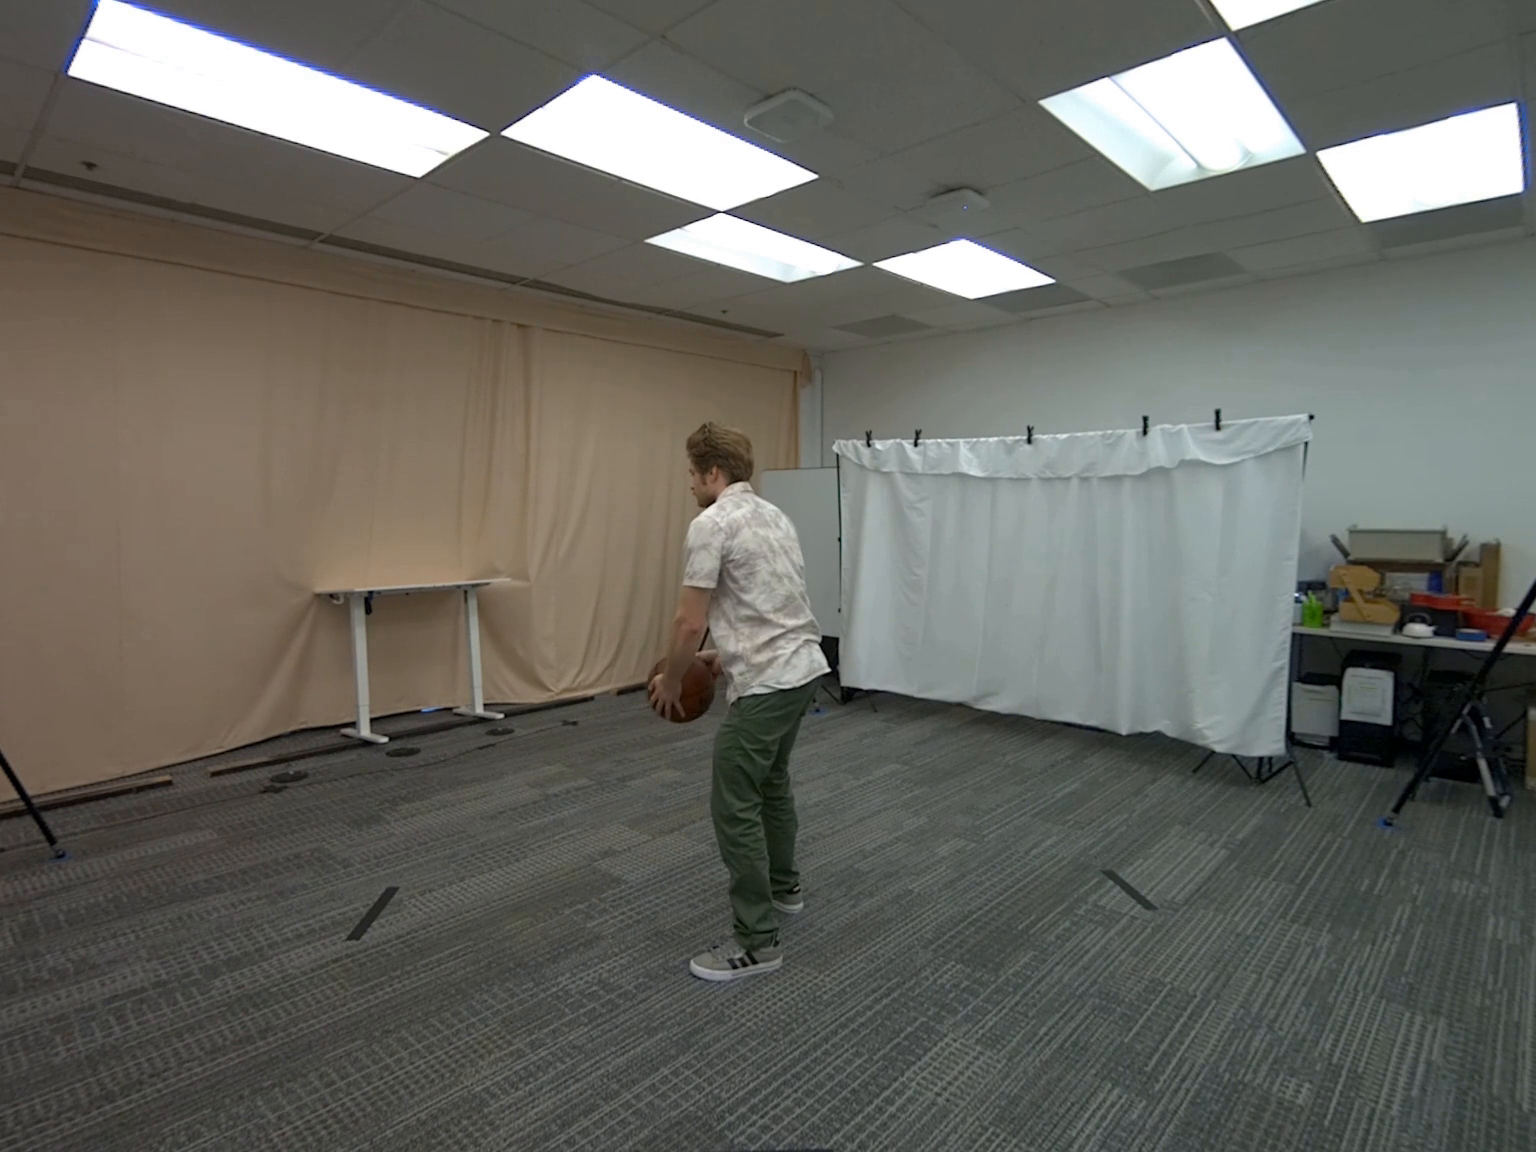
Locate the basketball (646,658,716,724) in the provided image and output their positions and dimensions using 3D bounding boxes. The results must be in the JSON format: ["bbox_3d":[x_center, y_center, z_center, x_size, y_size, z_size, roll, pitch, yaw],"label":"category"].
[{"bbox_3d":[-0.299,0.377,2.904,0.236,0.235,0.237,0,4,-2],"label":"basketball"}]
